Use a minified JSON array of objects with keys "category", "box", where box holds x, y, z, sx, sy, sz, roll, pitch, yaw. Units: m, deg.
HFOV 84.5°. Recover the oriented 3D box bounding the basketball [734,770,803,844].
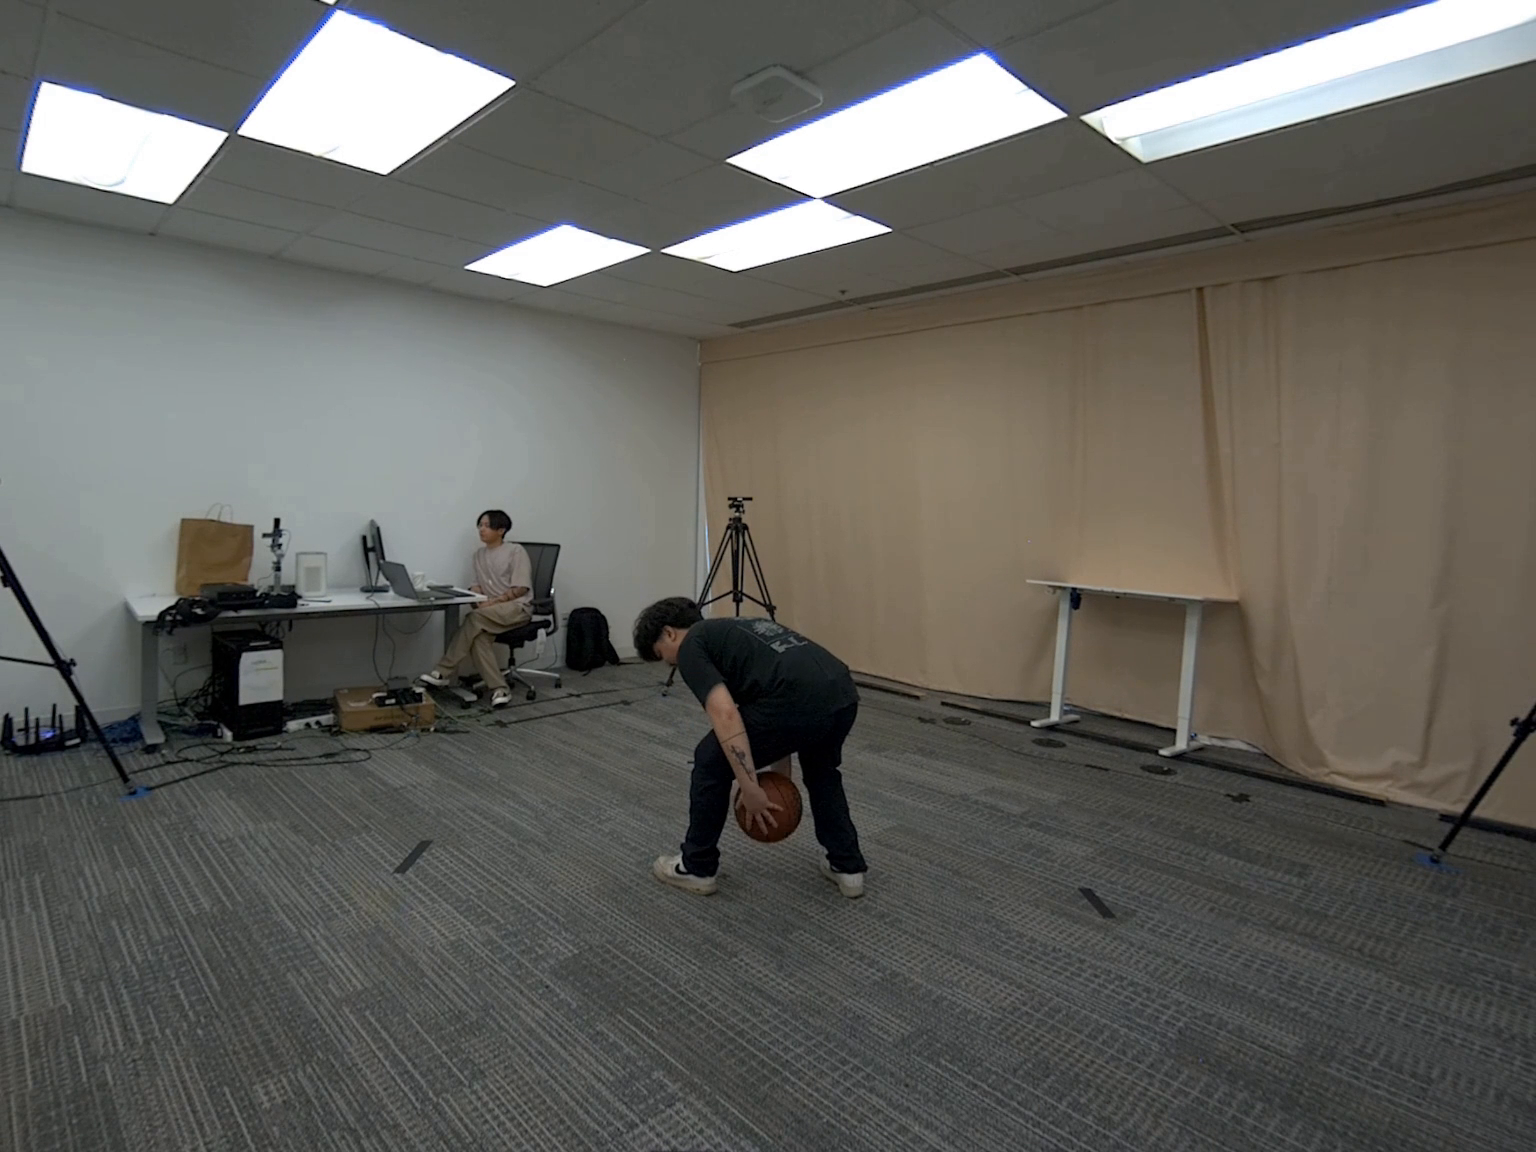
[{"category":"basketball","box":[-0.008,0.789,2.918,0.236,0.235,0.237,1,4,-1]}]
